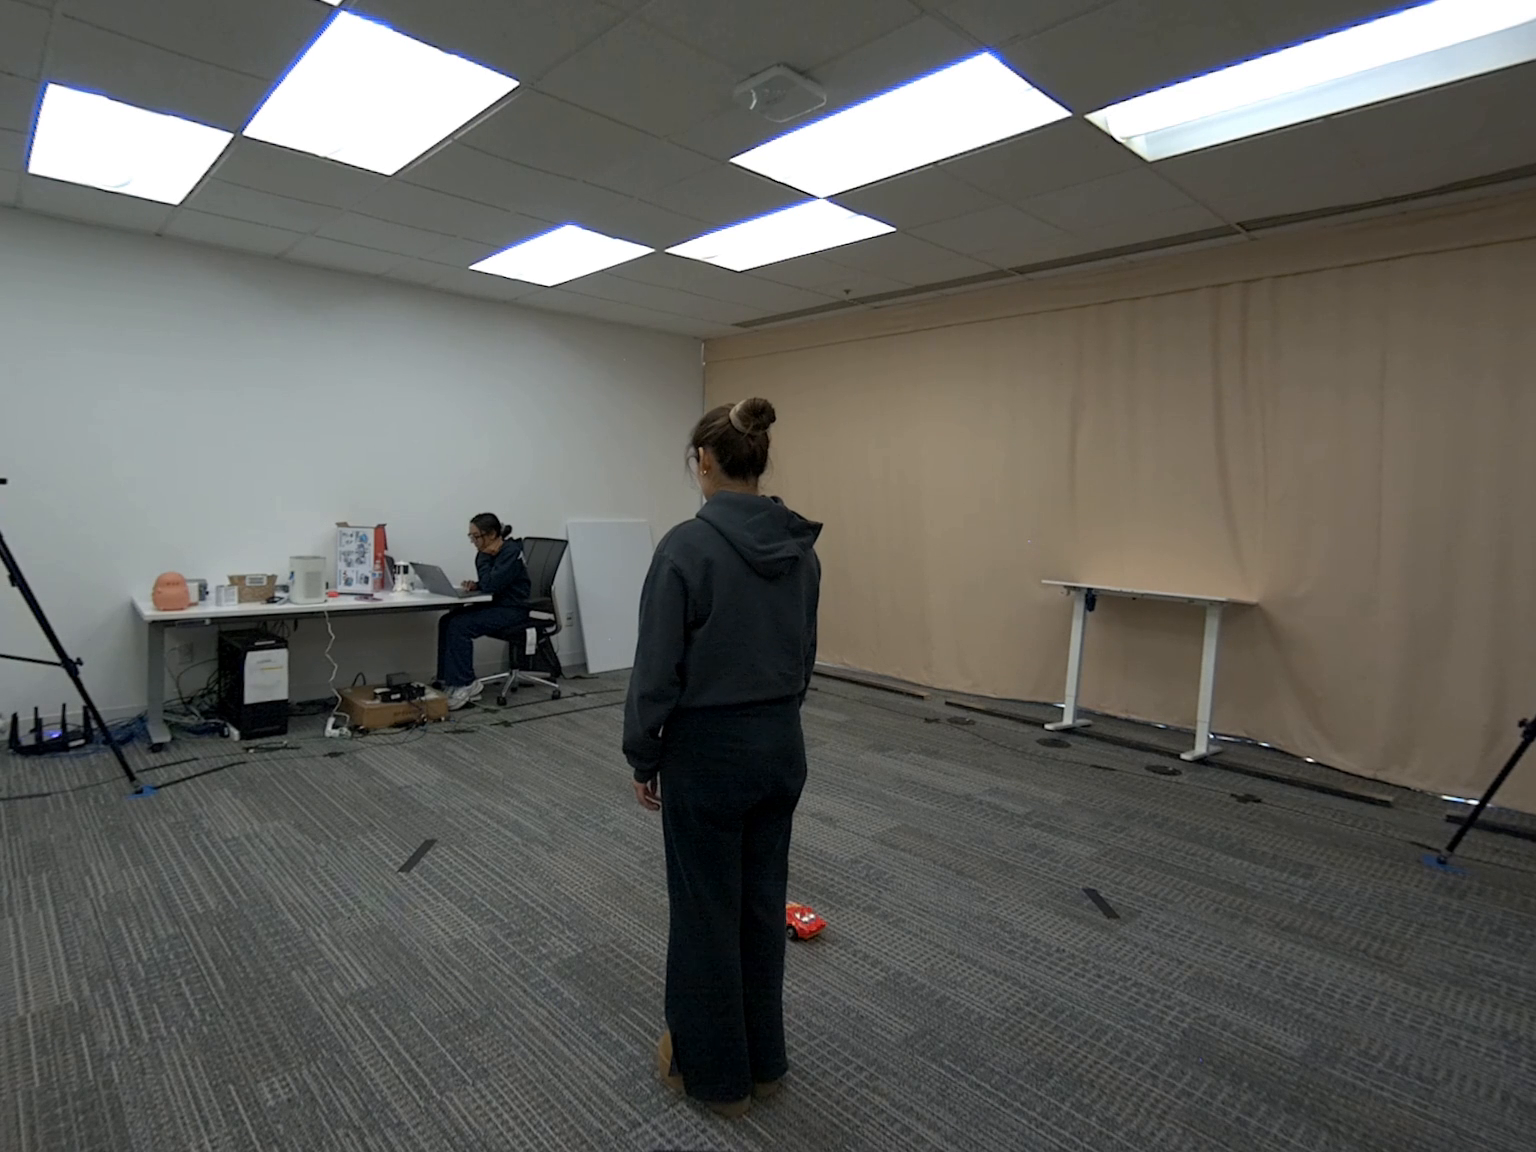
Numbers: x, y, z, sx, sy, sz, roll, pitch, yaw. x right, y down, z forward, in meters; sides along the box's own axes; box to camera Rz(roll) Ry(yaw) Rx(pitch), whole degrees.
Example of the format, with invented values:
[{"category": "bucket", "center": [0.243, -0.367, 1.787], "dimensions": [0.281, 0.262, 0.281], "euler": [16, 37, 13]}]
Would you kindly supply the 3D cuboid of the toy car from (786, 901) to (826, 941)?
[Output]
[{"category": "toy car", "center": [0.072, 1.114, 2.742], "dimensions": [0.127, 0.083, 0.259], "euler": [-3, -4, -43]}]
